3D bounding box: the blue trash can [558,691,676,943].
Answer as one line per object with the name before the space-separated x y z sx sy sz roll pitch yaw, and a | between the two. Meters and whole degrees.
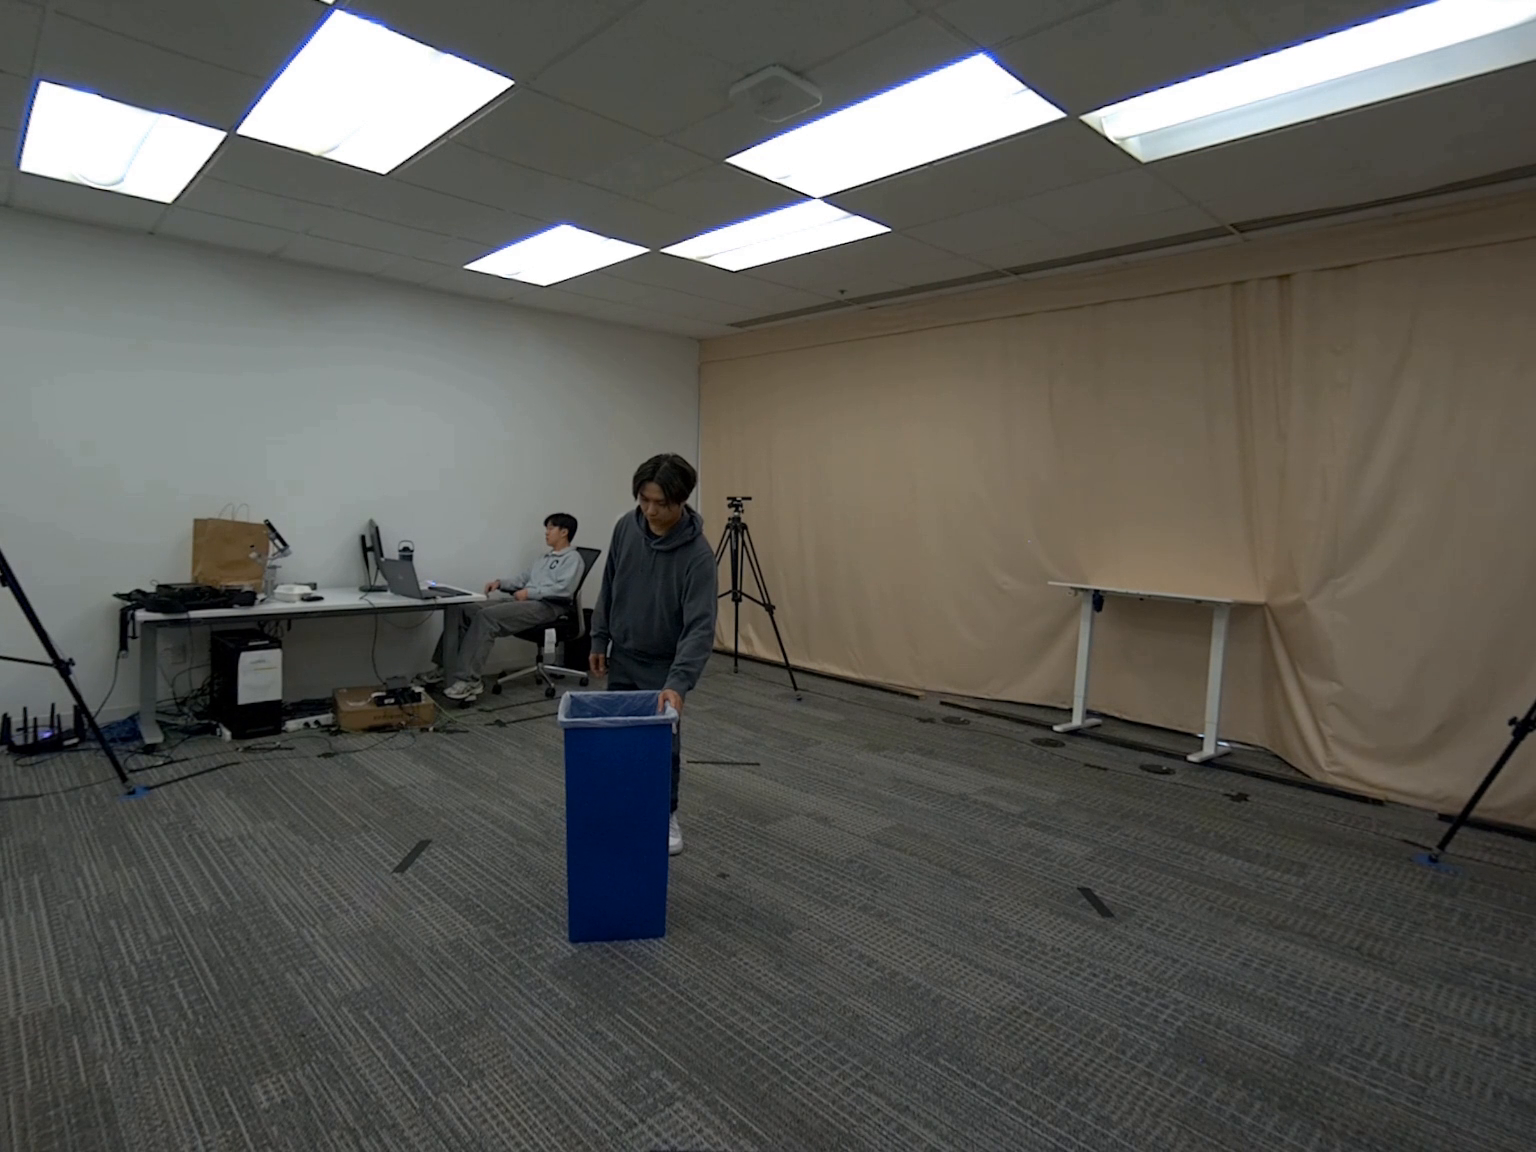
blue trash can | -0.507 0.779 2.754 0.371 0.712 0.382 1 4 -10
